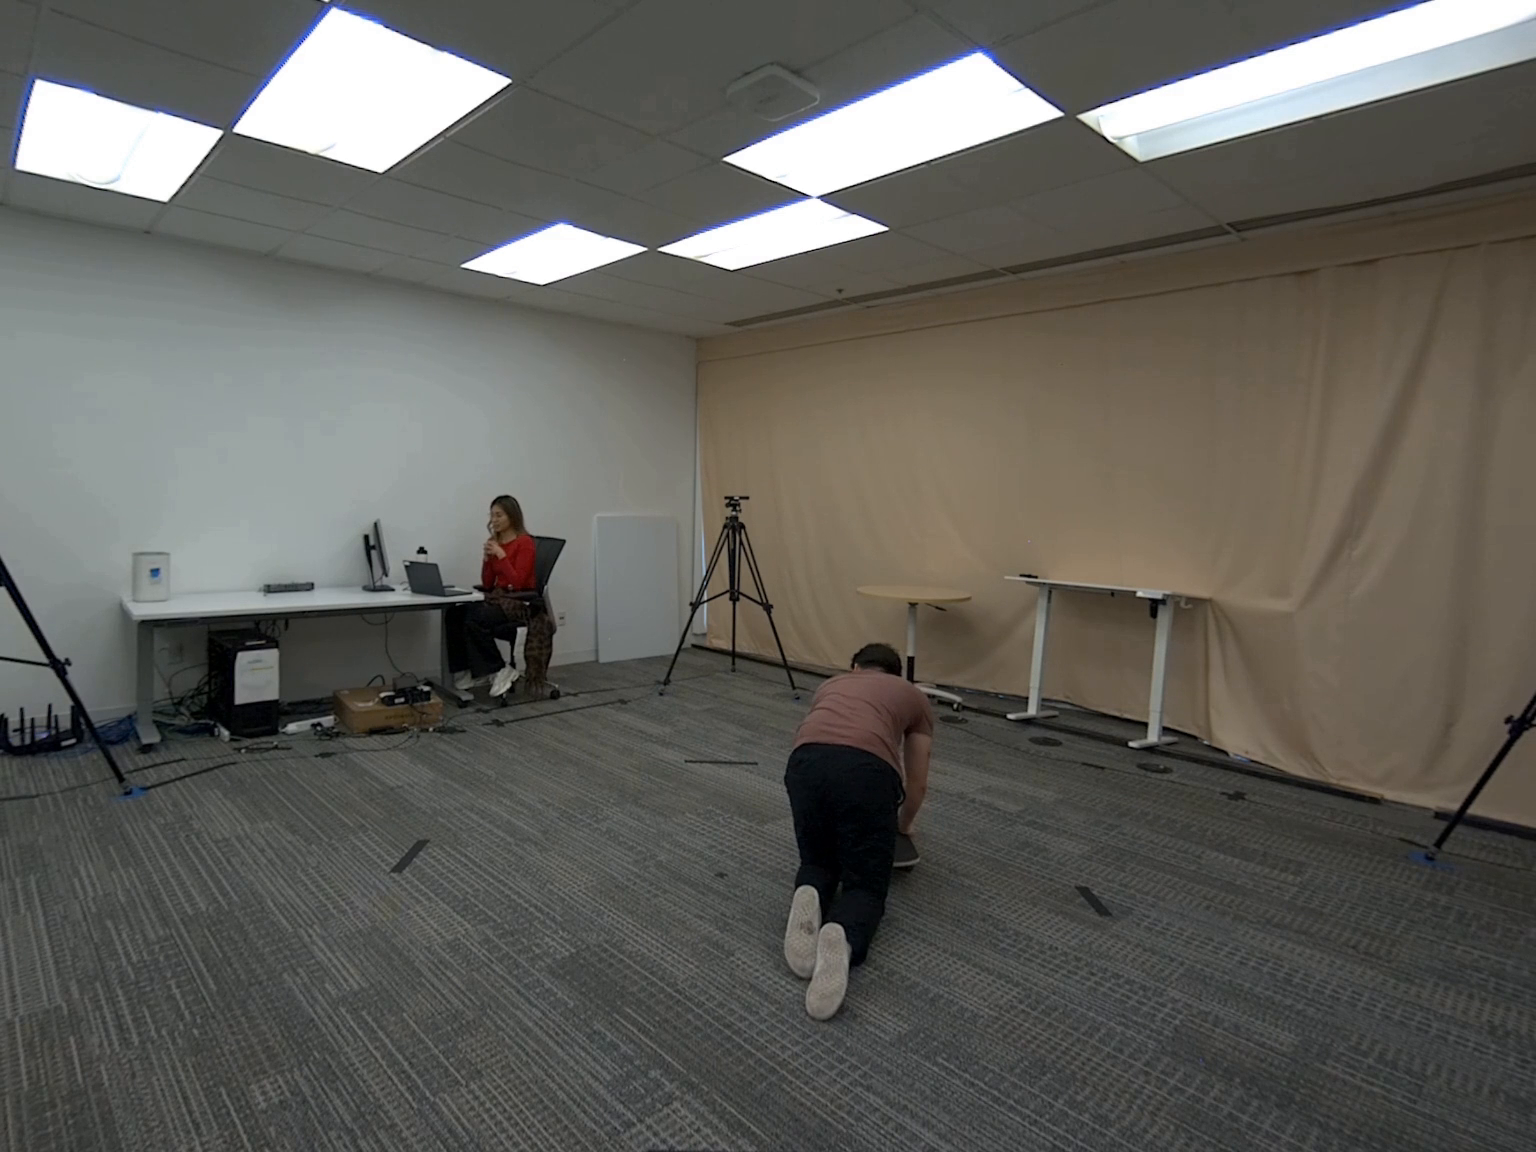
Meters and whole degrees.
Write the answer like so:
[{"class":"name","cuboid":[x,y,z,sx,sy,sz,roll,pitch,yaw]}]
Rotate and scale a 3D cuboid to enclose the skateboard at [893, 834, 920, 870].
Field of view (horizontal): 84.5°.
[{"class":"skateboard","cuboid":[0.449,1.044,3.393,0.193,0.110,0.789,-3,6,-3]}]
